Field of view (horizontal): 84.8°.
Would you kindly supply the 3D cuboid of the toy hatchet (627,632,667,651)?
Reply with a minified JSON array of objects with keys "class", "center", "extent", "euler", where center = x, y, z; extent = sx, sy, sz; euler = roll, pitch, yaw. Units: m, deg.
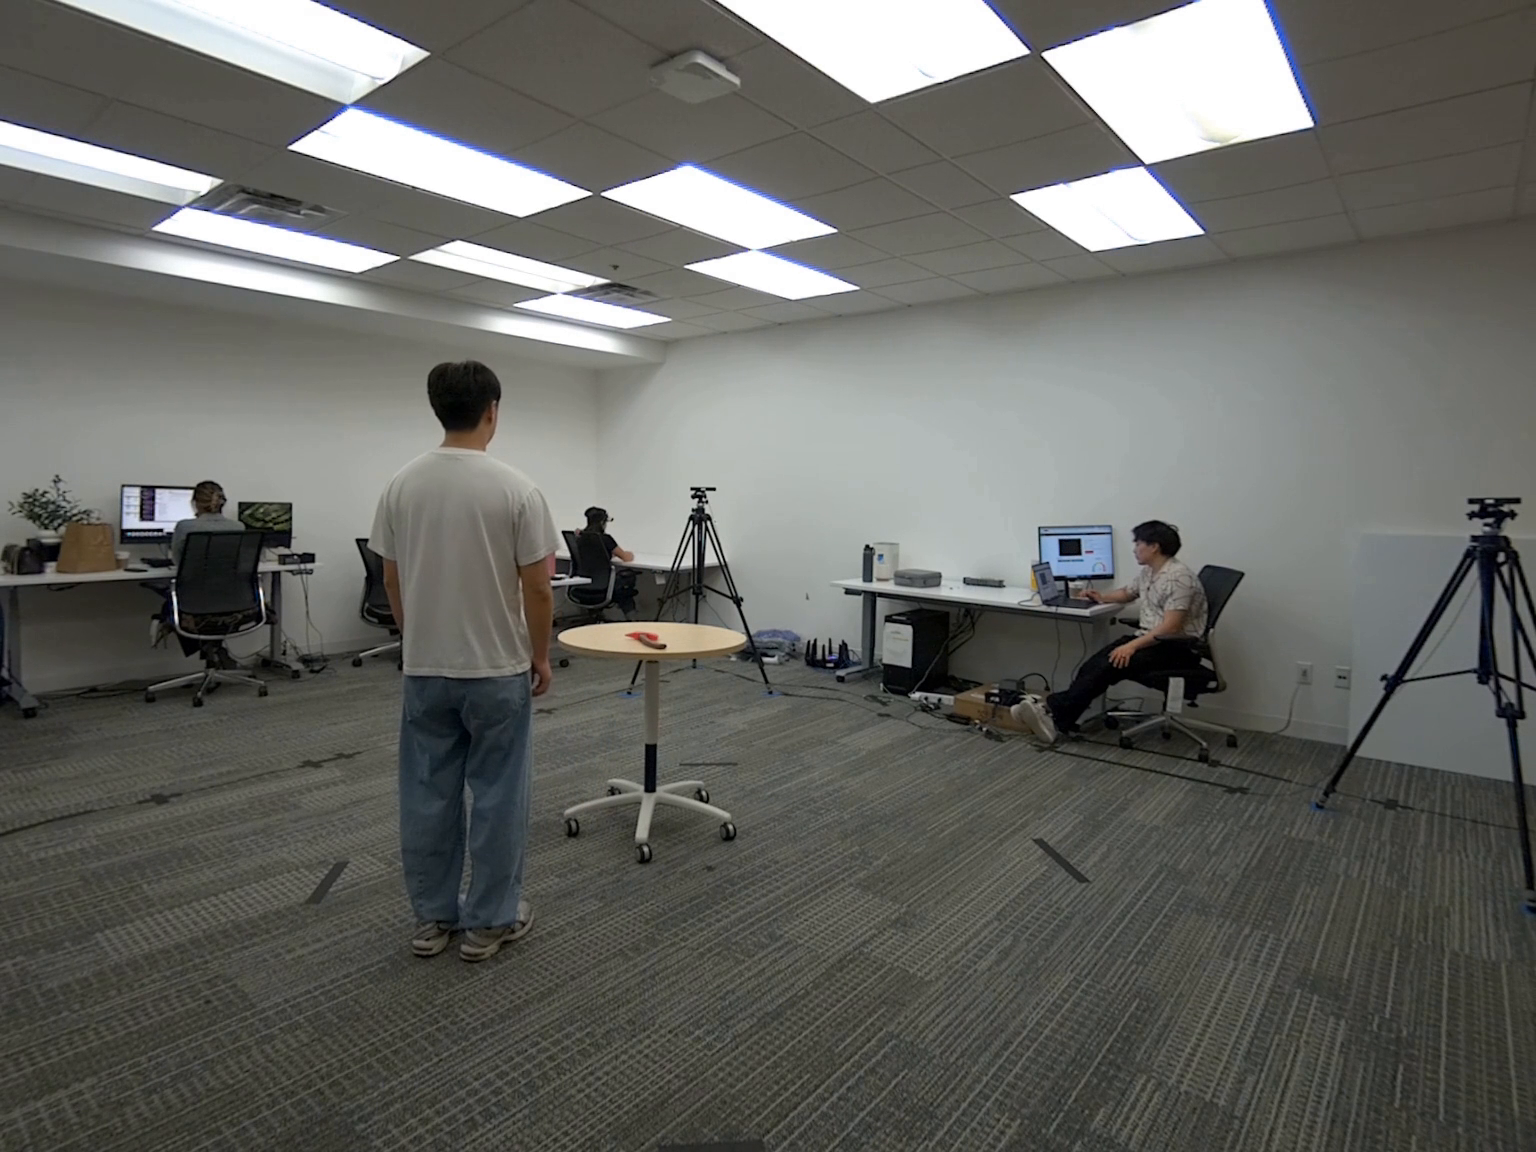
[{"class":"toy hatchet","center":[-0.459,0.249,3.304],"extent":[0.127,0.029,0.279],"euler":[3,5,-35]}]
